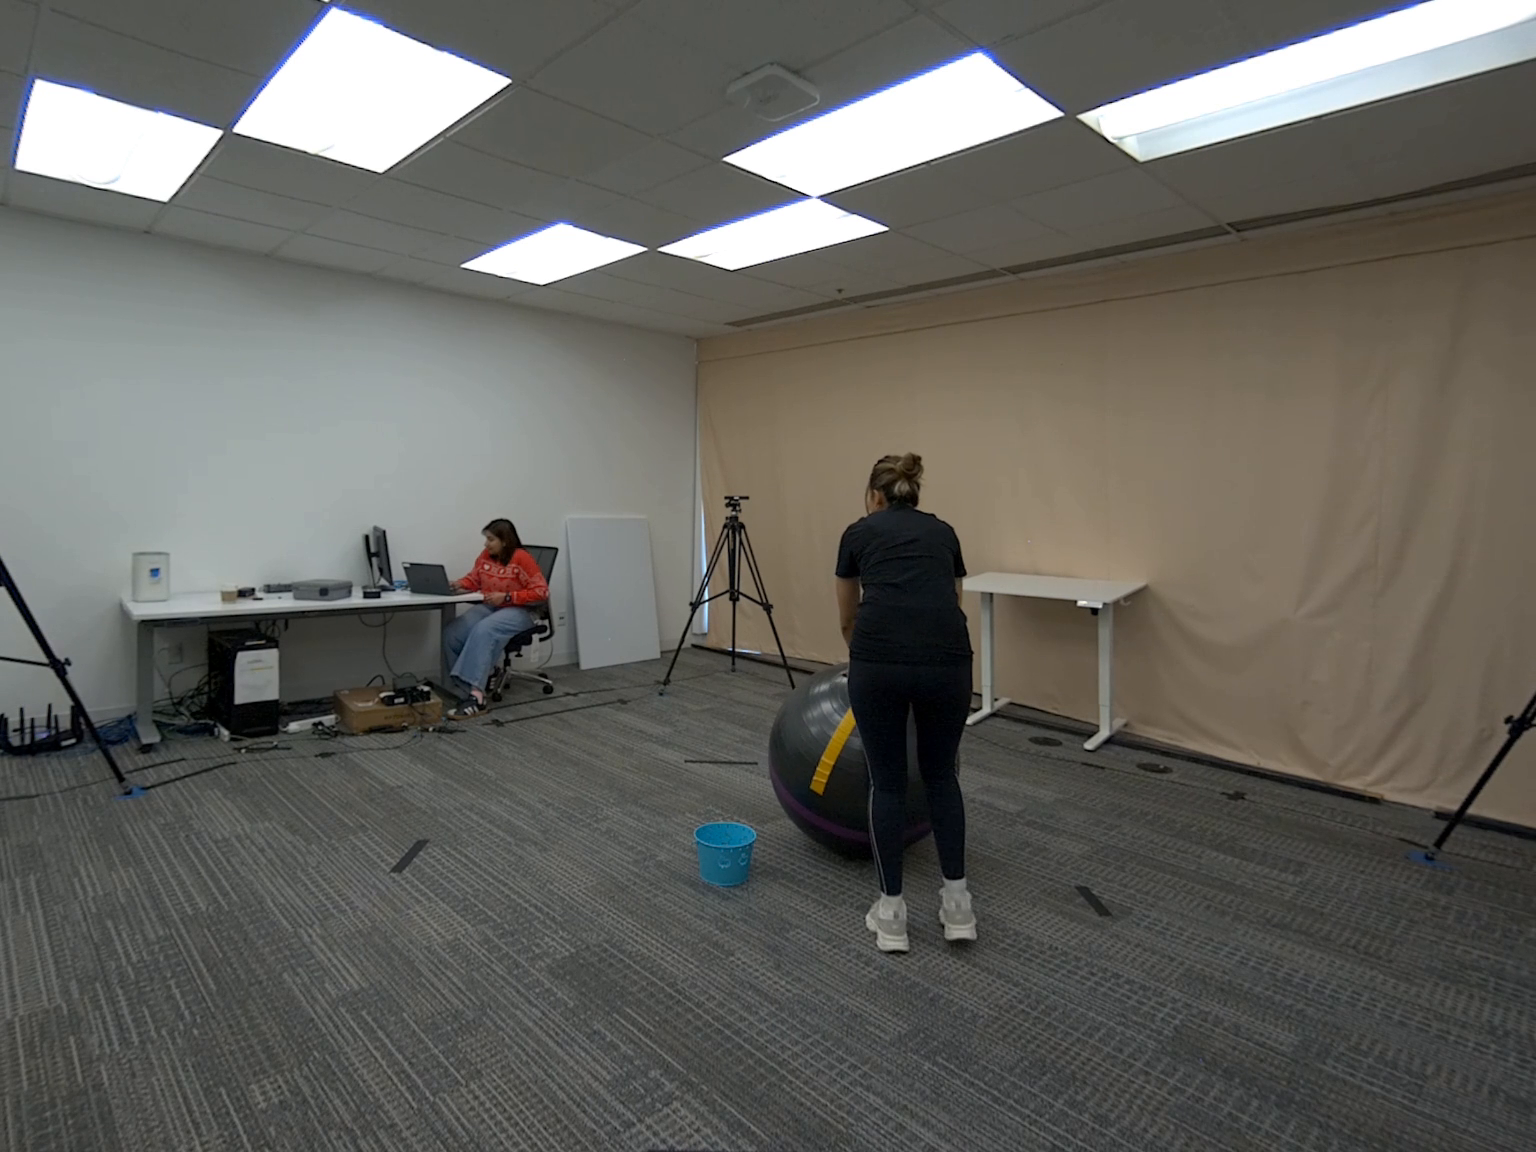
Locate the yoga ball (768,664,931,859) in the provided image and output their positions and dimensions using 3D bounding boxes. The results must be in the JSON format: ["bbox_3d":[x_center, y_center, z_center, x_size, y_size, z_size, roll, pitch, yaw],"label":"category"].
[{"bbox_3d":[0.386,0.727,3.374,0.757,0.756,0.761,1,4,-1],"label":"yoga ball"}]
